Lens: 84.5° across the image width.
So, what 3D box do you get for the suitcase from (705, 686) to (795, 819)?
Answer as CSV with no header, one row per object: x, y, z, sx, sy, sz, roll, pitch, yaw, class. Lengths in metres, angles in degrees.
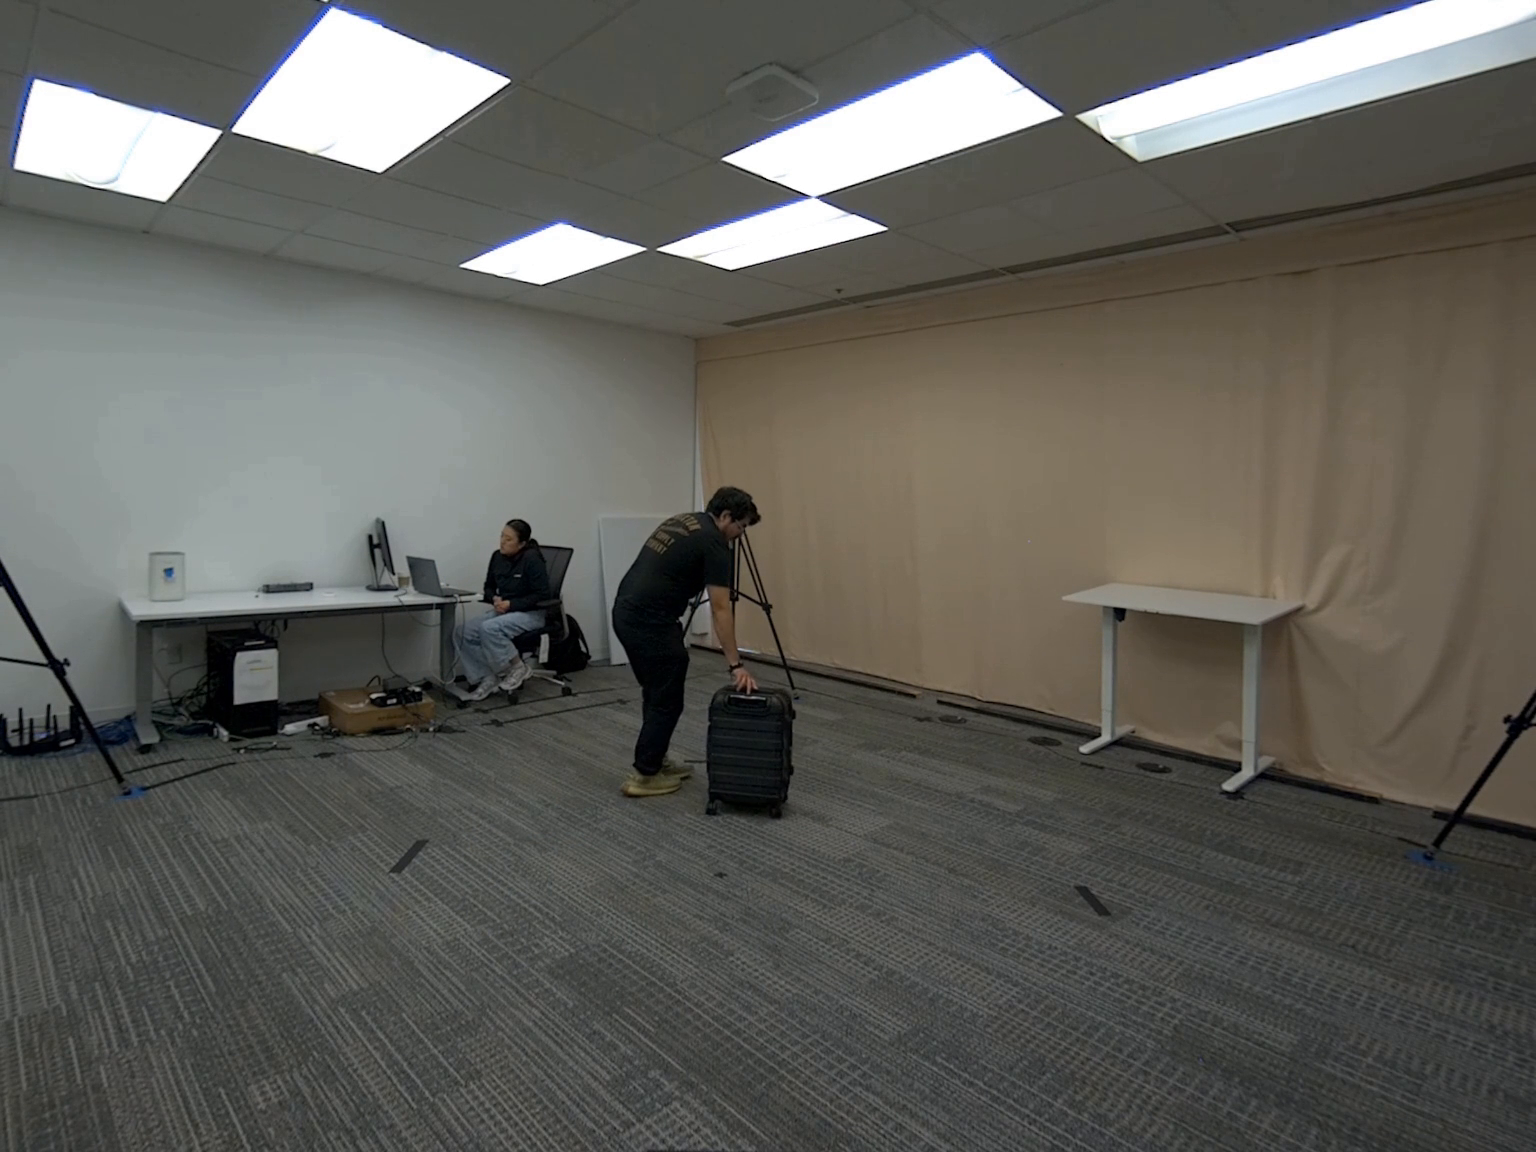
-0.088,0.769,3.784,0.379,0.548,0.246,2,4,11,suitcase
